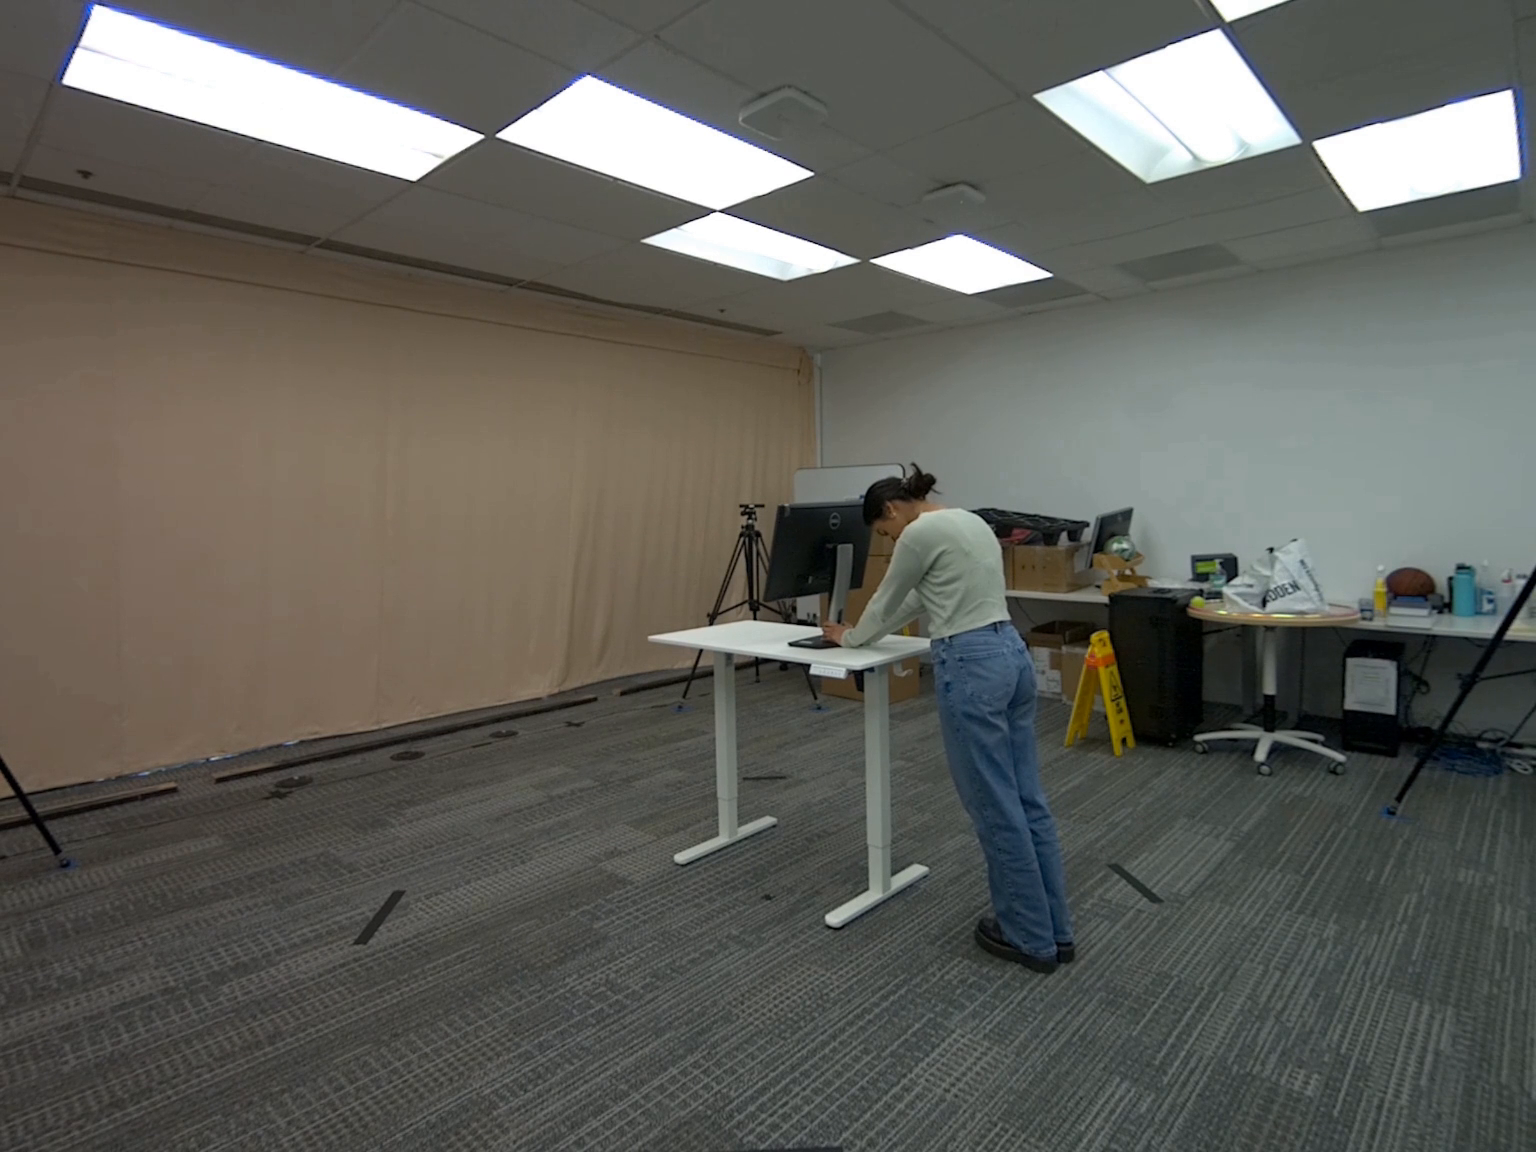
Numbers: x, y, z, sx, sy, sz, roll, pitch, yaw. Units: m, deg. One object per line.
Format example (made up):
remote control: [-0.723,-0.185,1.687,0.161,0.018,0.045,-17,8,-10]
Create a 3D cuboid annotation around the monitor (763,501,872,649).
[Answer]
monitor: [0.219,-0.010,3.057,0.523,0.521,0.193,-5,5,-44]
